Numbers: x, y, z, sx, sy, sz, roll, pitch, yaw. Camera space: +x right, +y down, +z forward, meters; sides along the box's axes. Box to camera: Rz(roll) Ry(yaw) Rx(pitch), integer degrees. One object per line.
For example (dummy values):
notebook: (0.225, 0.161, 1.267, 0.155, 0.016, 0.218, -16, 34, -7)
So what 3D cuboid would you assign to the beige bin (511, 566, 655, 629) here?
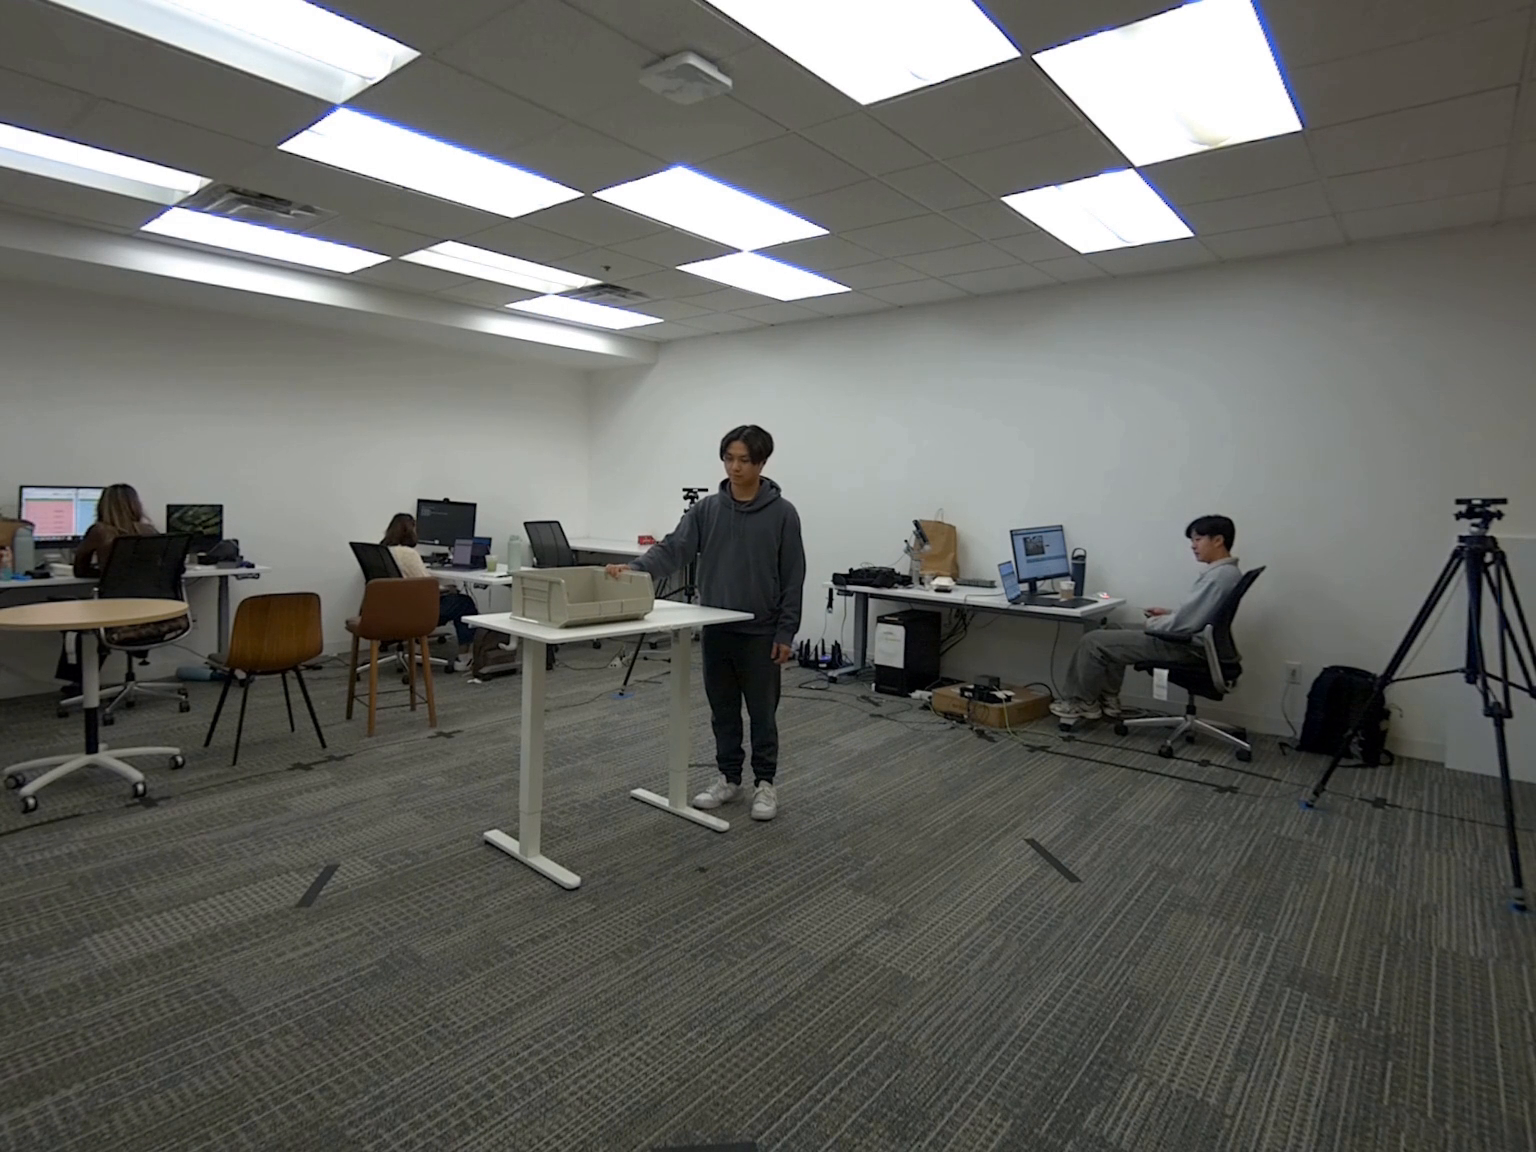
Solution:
beige bin: (-0.720, 0.076, 3.241, 0.390, 0.188, 0.410, 5, 6, 42)
